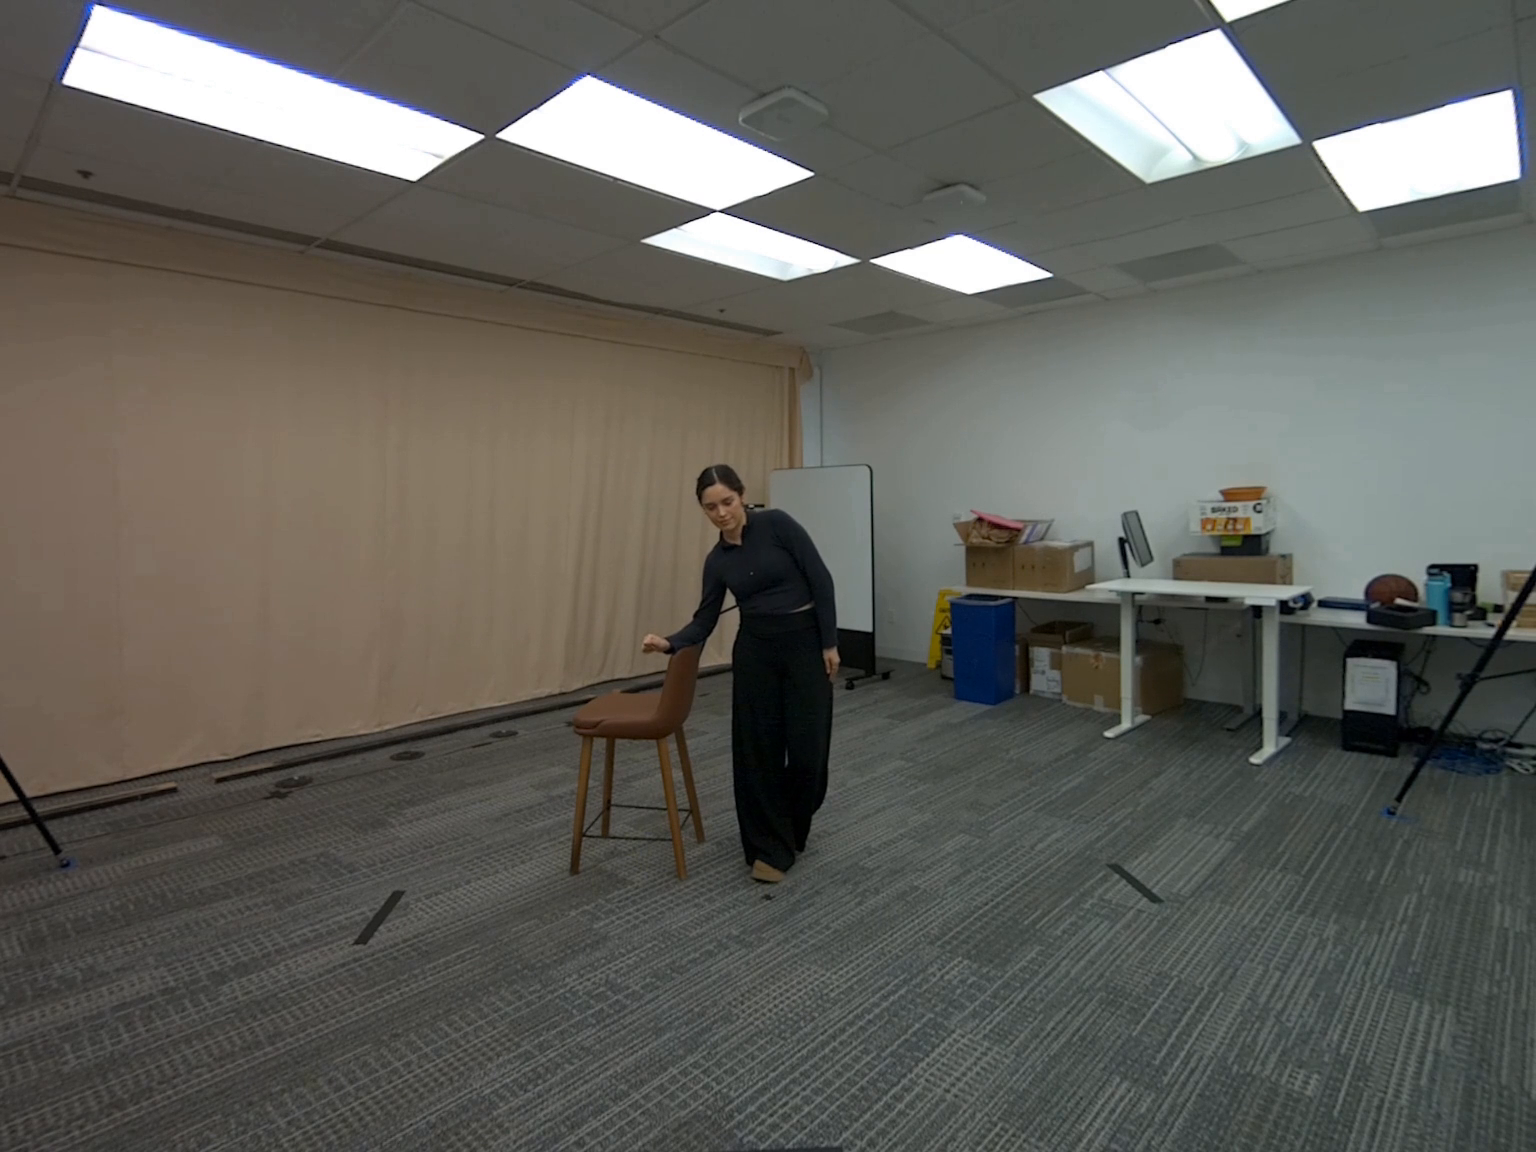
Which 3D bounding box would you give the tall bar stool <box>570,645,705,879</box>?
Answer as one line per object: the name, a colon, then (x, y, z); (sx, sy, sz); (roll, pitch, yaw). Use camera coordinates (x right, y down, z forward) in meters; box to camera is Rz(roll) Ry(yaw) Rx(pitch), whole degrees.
tall bar stool: (-0.512, 0.686, 3.342); (0.473, 0.888, 0.452); (1, 3, 9)
